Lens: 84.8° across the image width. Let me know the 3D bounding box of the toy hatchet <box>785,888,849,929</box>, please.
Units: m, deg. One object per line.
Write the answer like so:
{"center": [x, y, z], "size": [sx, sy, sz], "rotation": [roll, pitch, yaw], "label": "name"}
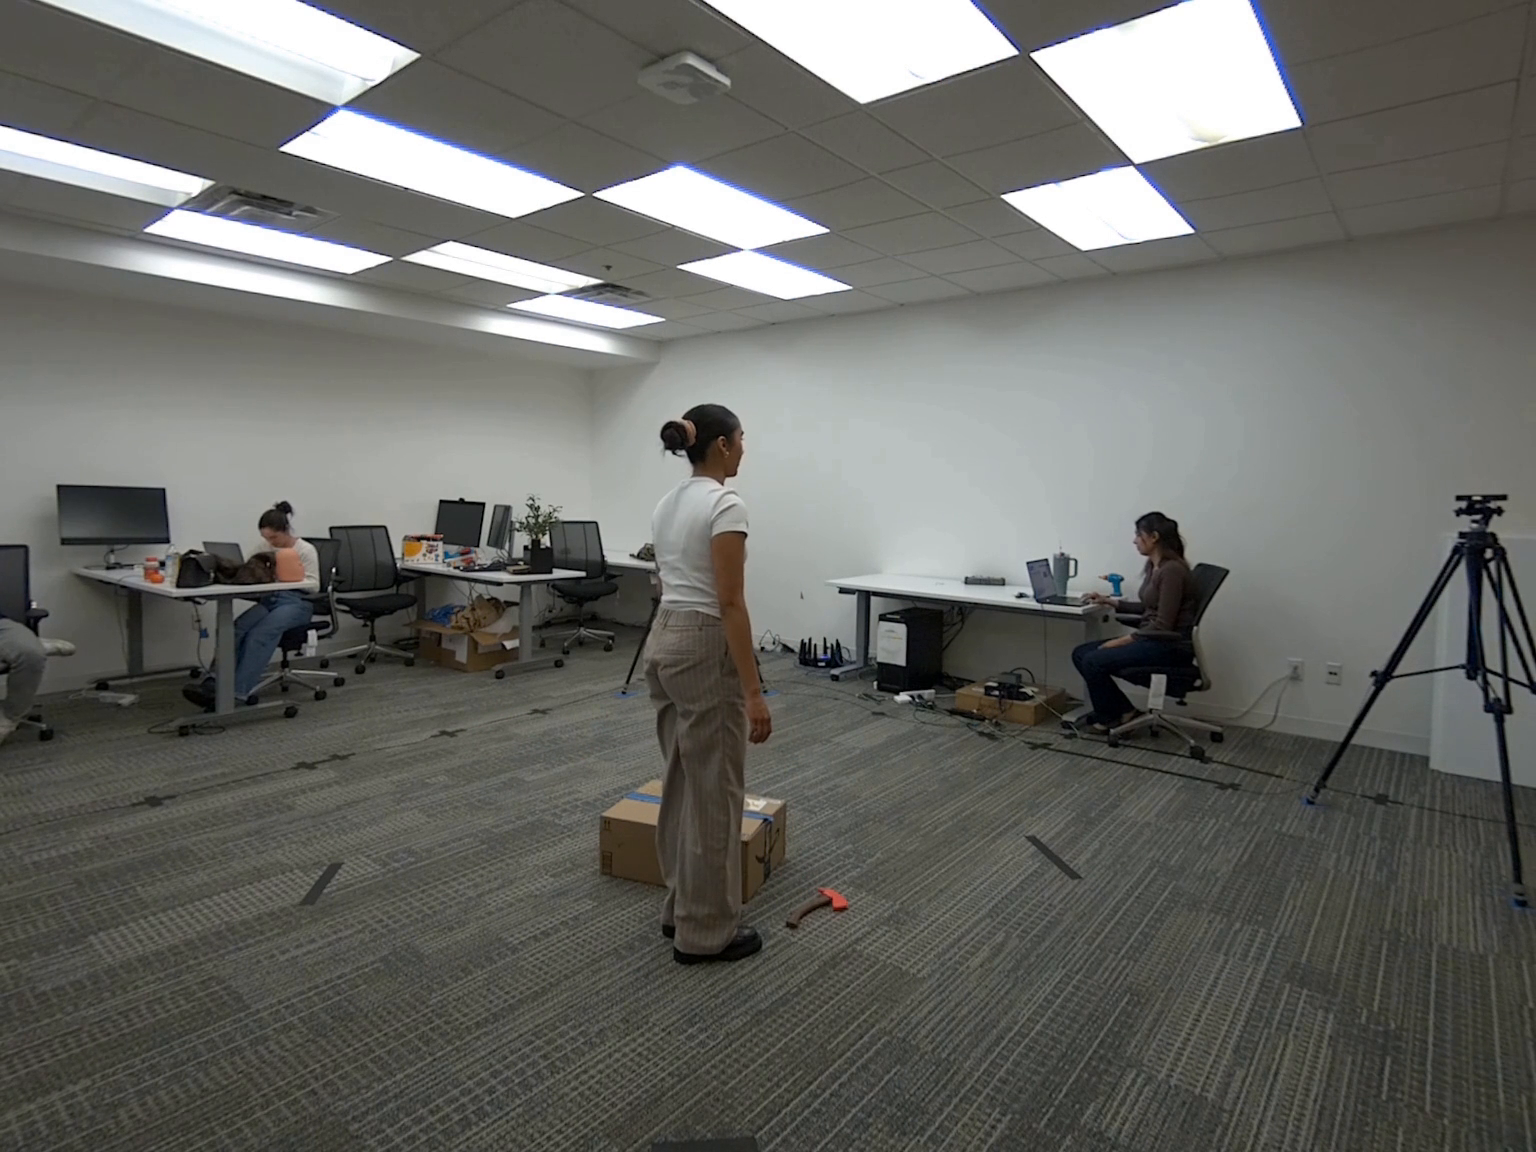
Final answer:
{"center": [0.173, 1.095, 2.784], "size": [0.135, 0.029, 0.263], "rotation": [7, 9, 29], "label": "toy hatchet"}
